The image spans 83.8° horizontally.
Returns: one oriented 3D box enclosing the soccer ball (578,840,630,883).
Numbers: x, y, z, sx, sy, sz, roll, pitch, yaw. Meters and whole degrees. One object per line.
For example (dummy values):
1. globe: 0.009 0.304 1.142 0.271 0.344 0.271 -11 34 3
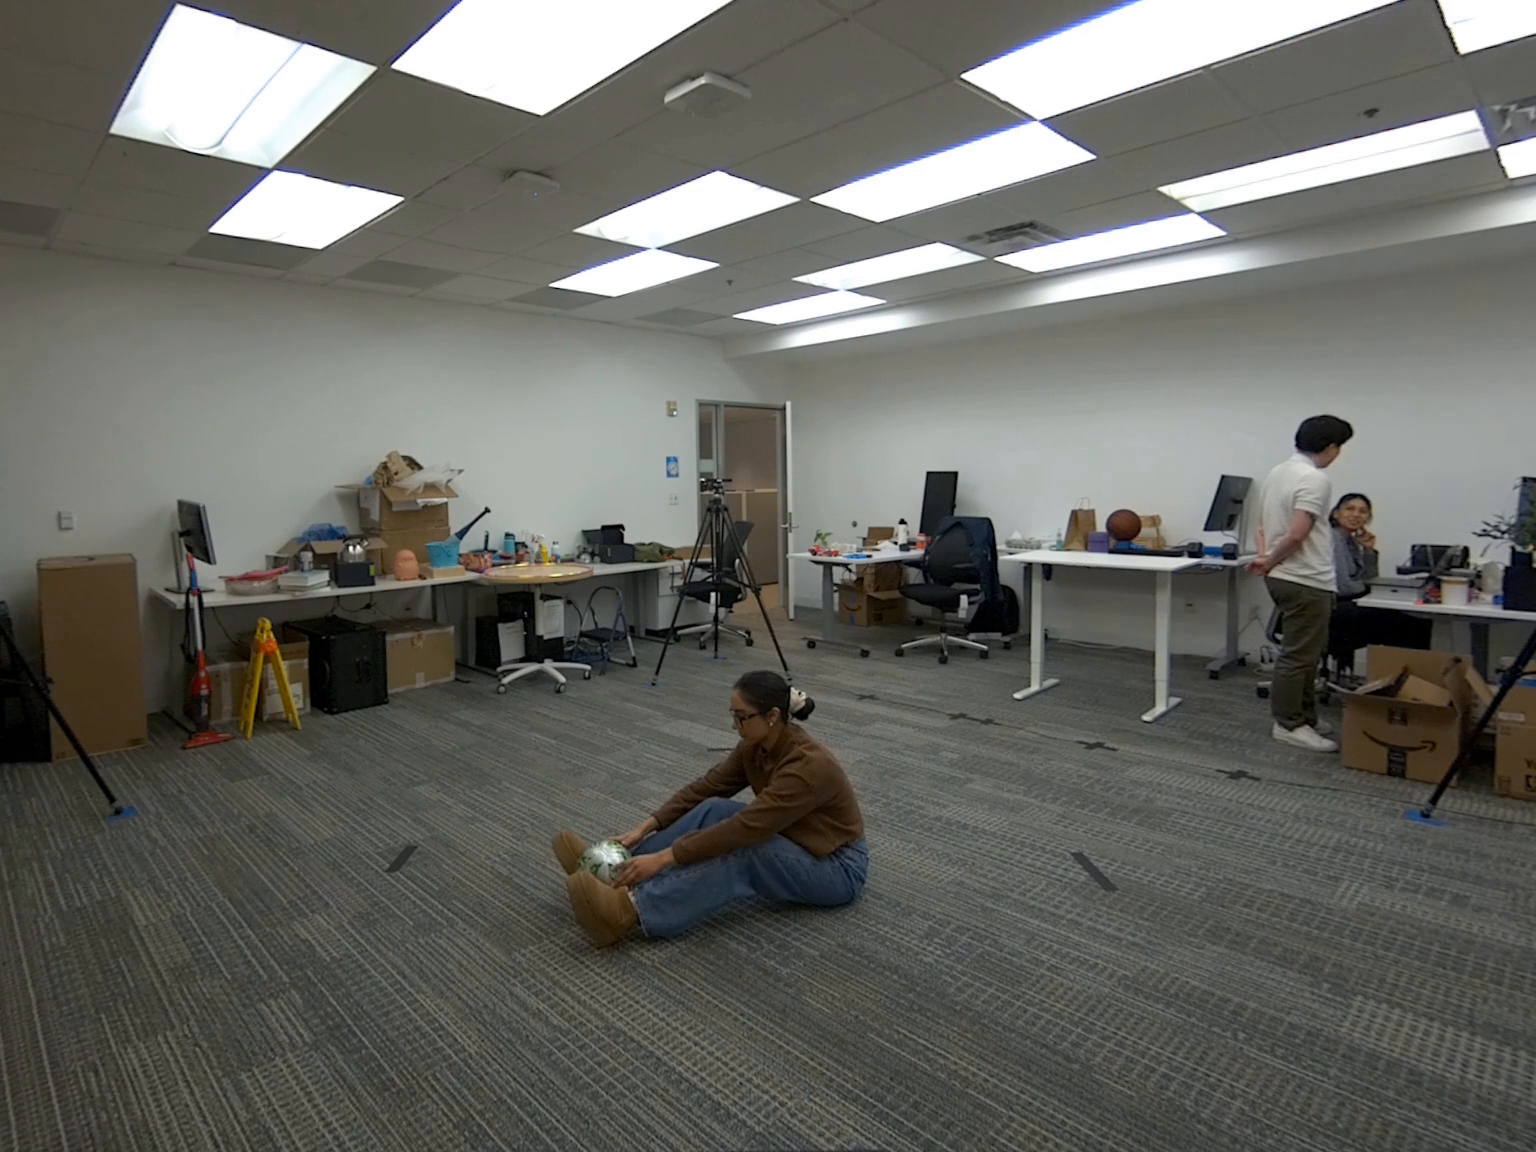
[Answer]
1. soccer ball: -0.499 0.939 2.683 0.187 0.187 0.188 -1 5 -2
